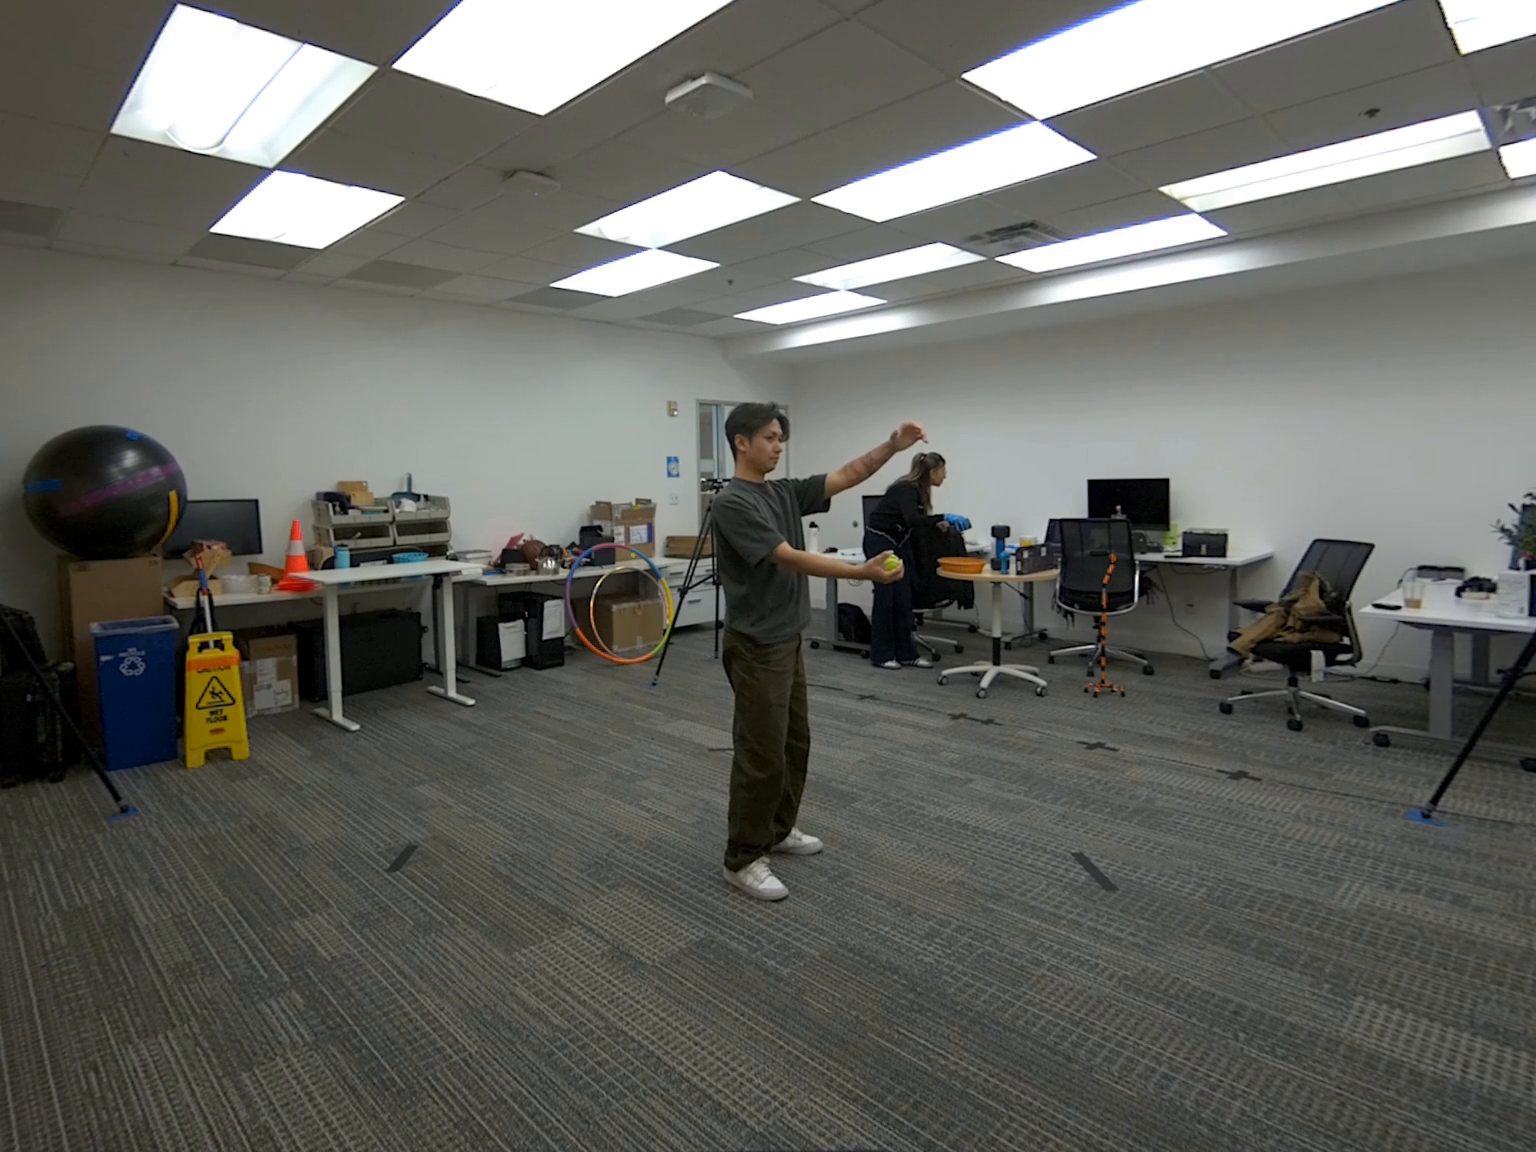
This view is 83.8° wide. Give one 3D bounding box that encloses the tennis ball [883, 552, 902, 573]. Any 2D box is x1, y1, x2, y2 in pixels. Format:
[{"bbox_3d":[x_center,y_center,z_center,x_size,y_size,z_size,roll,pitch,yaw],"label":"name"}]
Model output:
[{"bbox_3d":[0.376,-0.046,2.738,0.066,0.066,0.067,-1,5,-2],"label":"tennis ball"}]
